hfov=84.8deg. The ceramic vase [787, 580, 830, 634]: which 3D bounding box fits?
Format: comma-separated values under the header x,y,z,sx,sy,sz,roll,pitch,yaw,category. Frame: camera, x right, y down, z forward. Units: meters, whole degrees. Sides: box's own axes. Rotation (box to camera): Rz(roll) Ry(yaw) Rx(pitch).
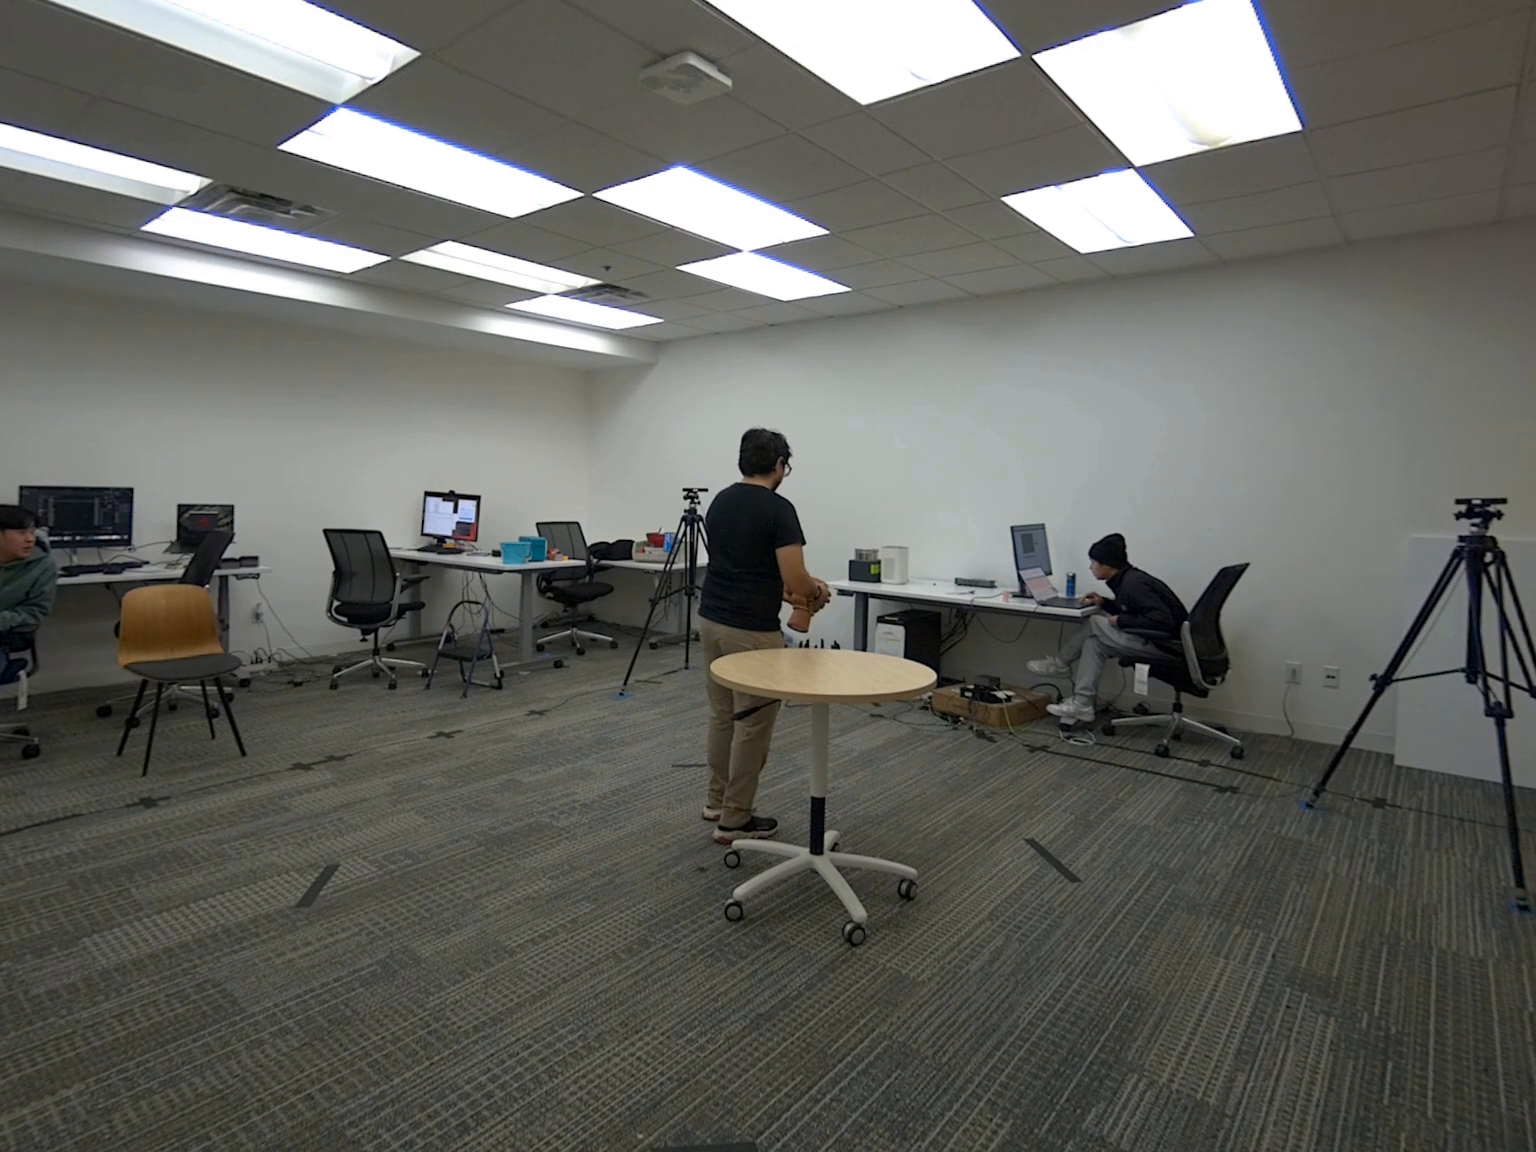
x,y,z,sx,sy,sz,roll,pitch,yaw,category
0.147,0.121,3.615,0.136,0.221,0.155,19,-15,9,ceramic vase
